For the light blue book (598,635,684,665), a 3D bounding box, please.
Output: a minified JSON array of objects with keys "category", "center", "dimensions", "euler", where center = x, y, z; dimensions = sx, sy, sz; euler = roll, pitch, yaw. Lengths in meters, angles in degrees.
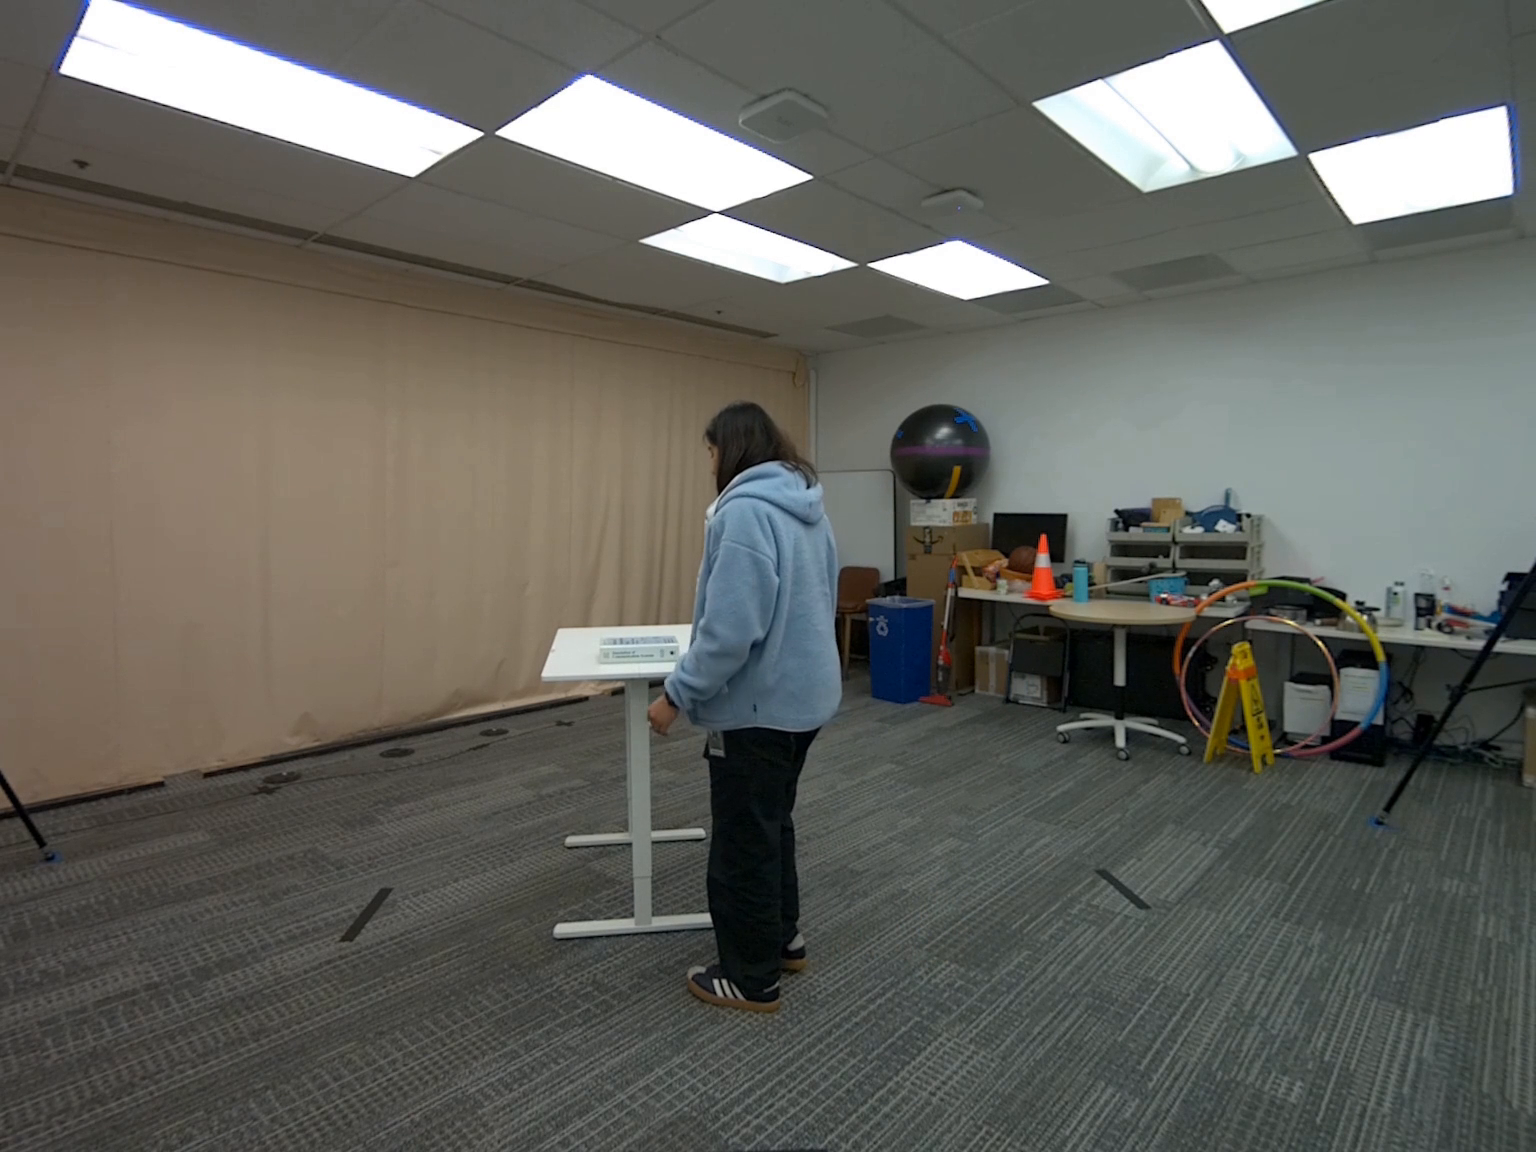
[{"category":"light blue book","center":[-0.444,0.251,2.844],"dimensions":[0.259,0.059,0.193],"euler":[0,5,-7]}]
